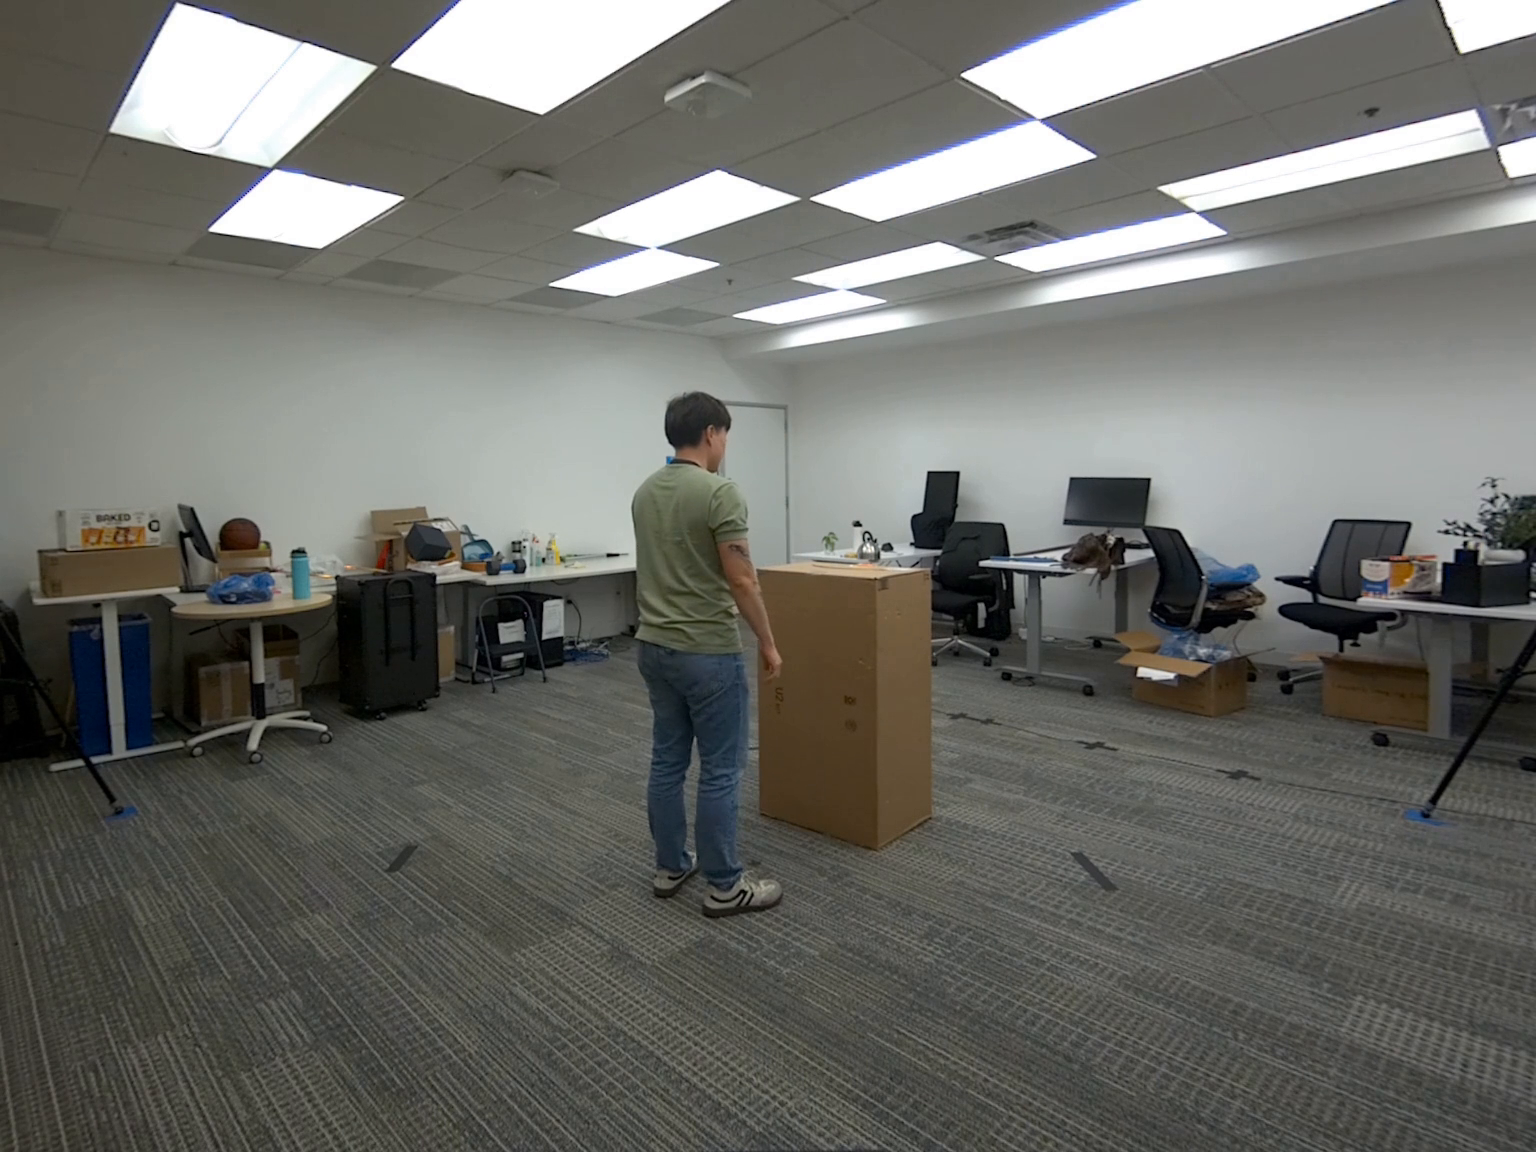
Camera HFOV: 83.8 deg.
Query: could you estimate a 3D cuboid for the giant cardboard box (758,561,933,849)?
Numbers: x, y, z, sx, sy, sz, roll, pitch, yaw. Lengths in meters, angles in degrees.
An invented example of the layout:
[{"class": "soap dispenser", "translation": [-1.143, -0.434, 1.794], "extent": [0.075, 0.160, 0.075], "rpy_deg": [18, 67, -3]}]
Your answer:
[{"class": "giant cardboard box", "translation": [0.315, 0.481, 3.505], "extent": [0.595, 1.022, 0.415], "rpy_deg": [3, 5, 40]}]
